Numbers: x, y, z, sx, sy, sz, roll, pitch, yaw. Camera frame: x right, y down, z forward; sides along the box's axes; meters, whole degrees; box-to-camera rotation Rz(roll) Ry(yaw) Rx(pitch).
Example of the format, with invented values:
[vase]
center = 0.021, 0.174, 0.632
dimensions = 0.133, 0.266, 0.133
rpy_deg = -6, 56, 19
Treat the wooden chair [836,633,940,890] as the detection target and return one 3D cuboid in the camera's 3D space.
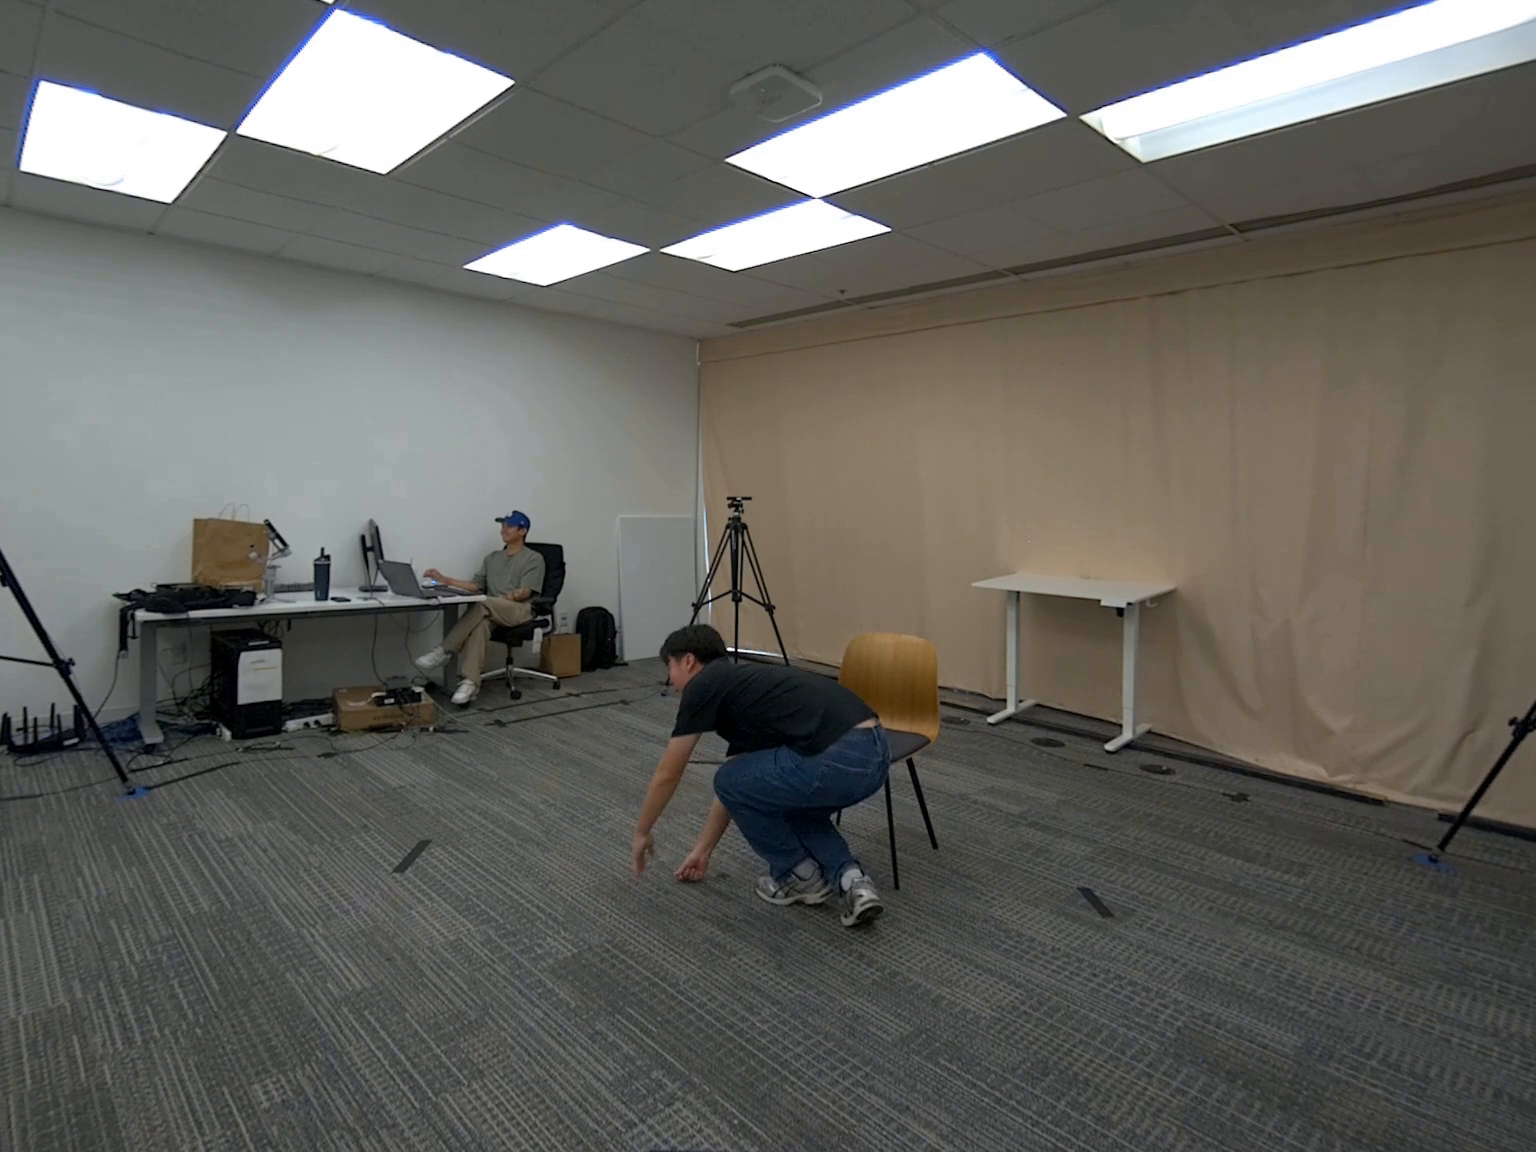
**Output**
[wooden chair]
center = 0.385, 0.677, 3.294
dimensions = 0.489, 0.878, 0.511
rpy_deg = 3, 0, 31
